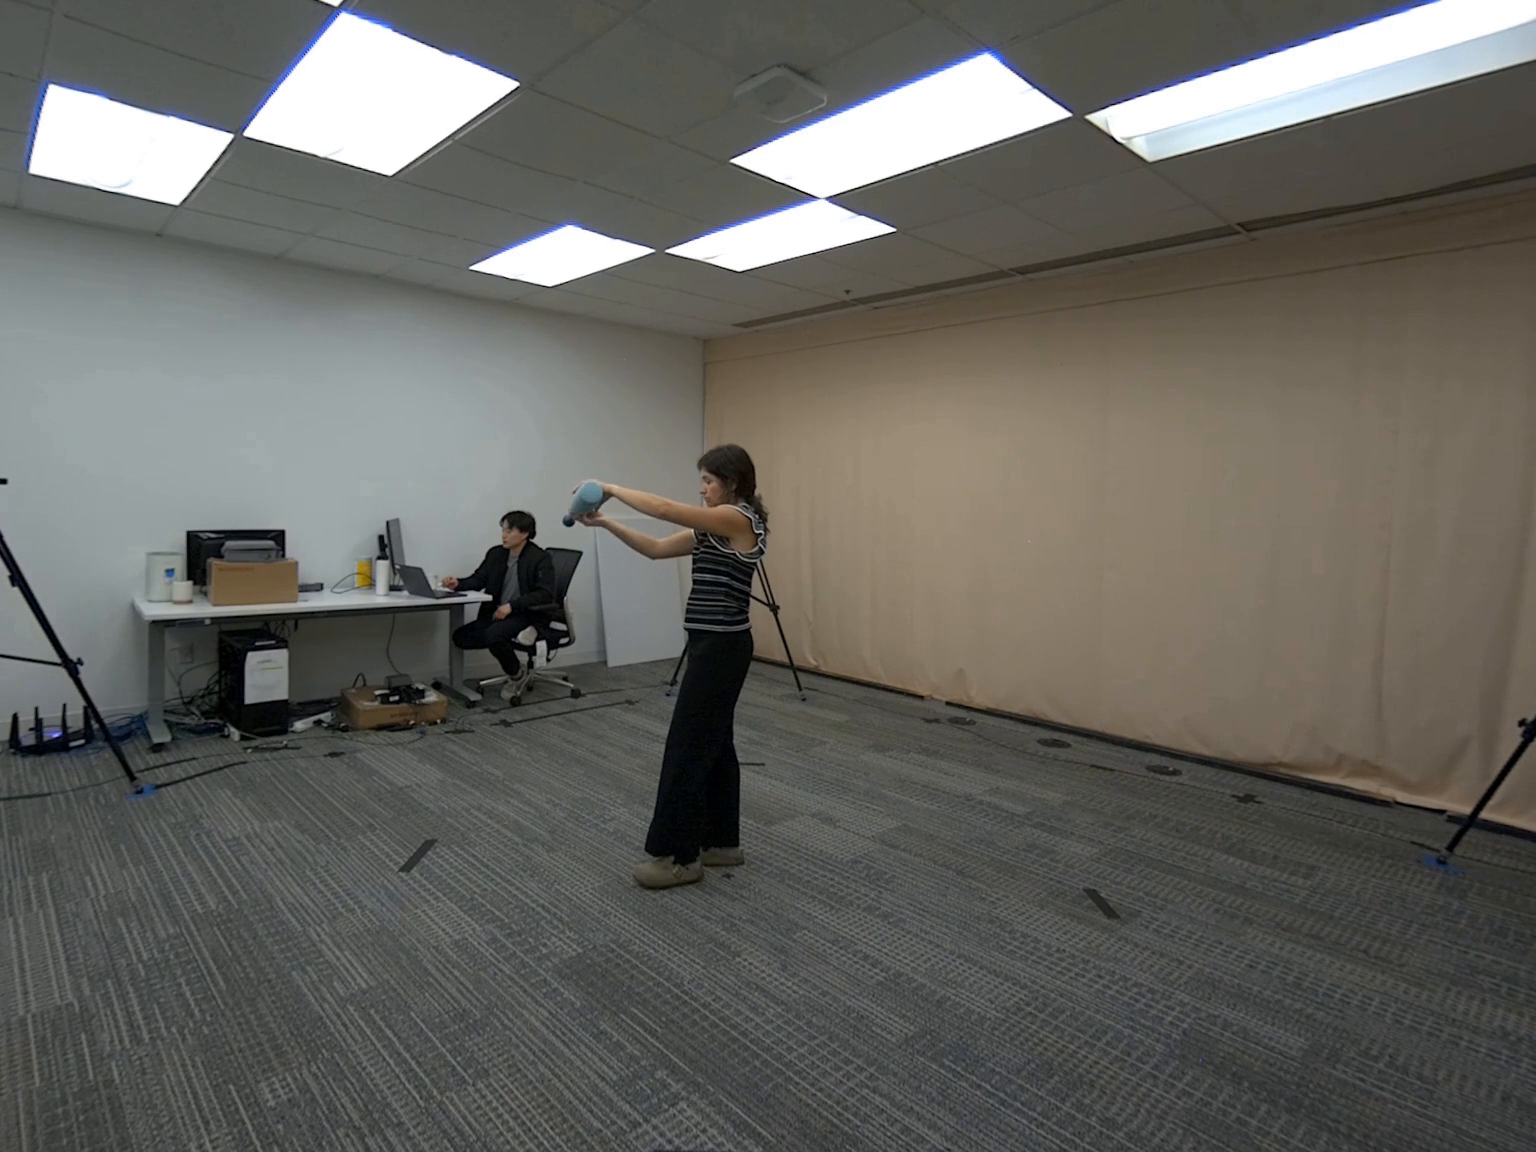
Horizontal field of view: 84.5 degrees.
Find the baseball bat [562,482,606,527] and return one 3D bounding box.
[{"bbox_3d":[-0.721,-0.241,3.184,0.088,0.089,0.547,0,-8,-20],"label":"baseball bat"}]
